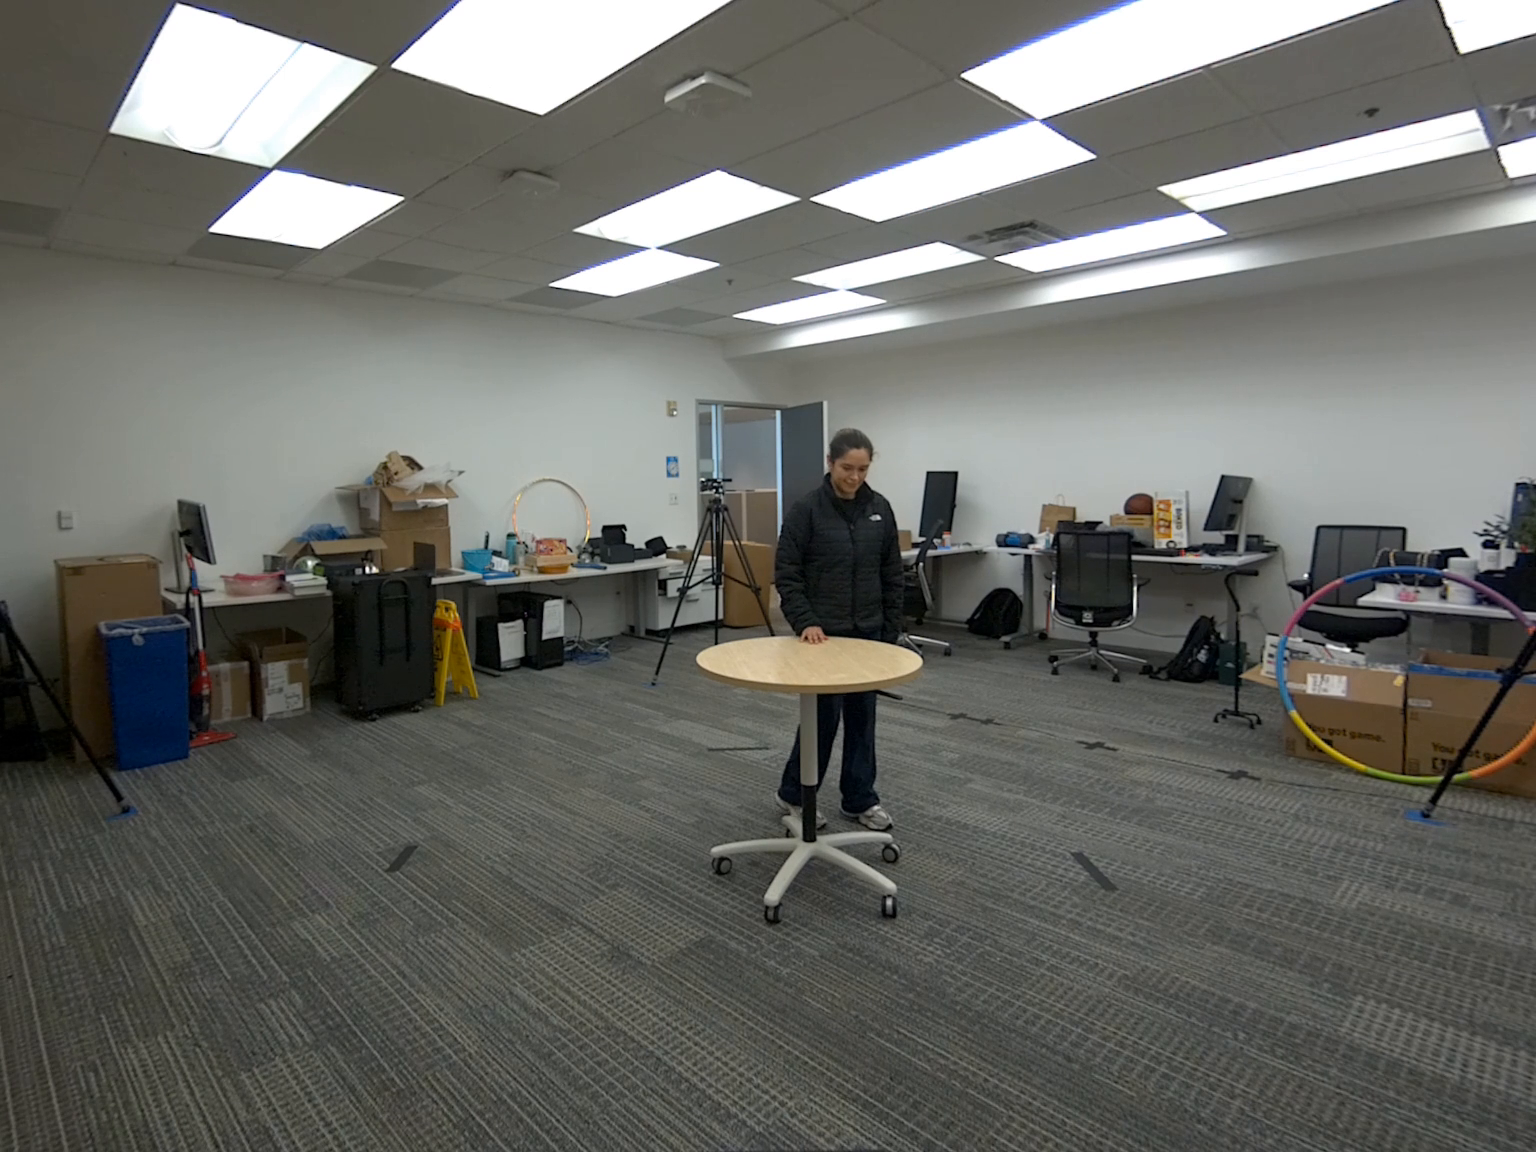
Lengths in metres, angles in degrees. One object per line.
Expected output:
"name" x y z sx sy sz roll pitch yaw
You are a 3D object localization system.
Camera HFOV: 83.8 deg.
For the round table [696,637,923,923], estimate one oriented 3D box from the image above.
"round table" 0.134 0.667 2.949 0.784 0.783 0.789 -1 5 -2
